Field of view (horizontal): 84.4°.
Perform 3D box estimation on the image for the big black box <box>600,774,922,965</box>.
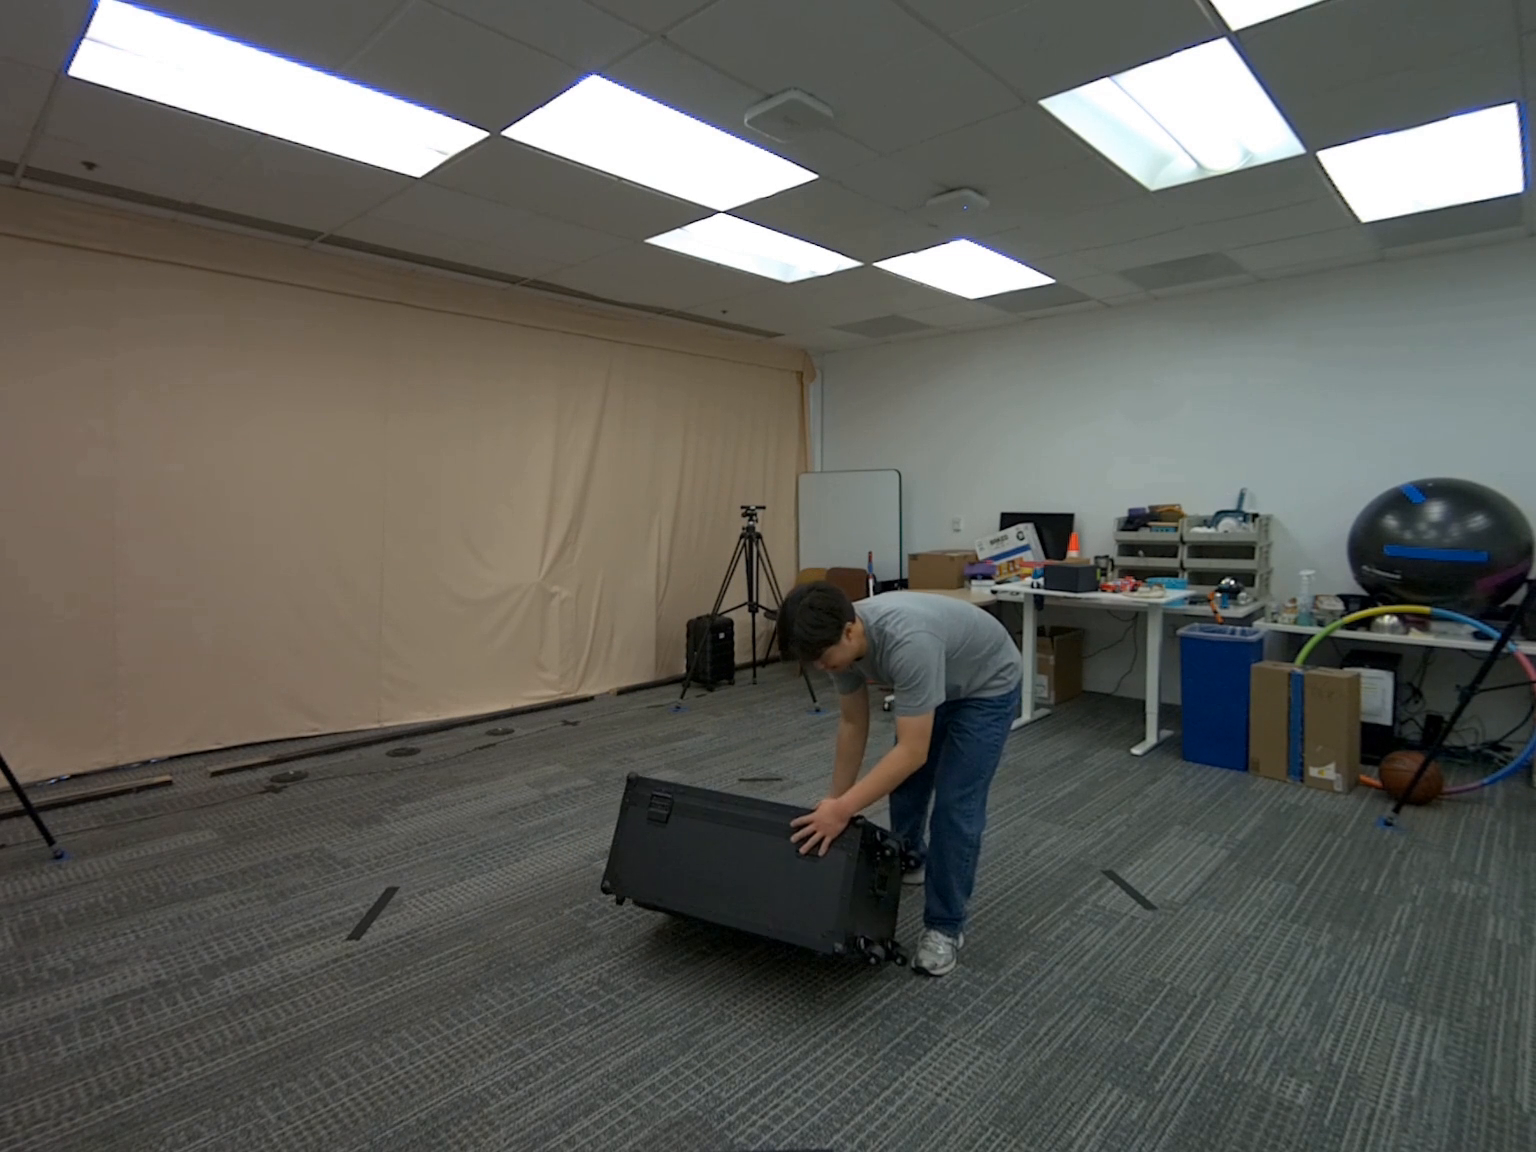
[{"bbox_3d":[-0.005,0.911,2.588,0.885,0.399,0.503,2,-24,28],"label":"big black box"}]
